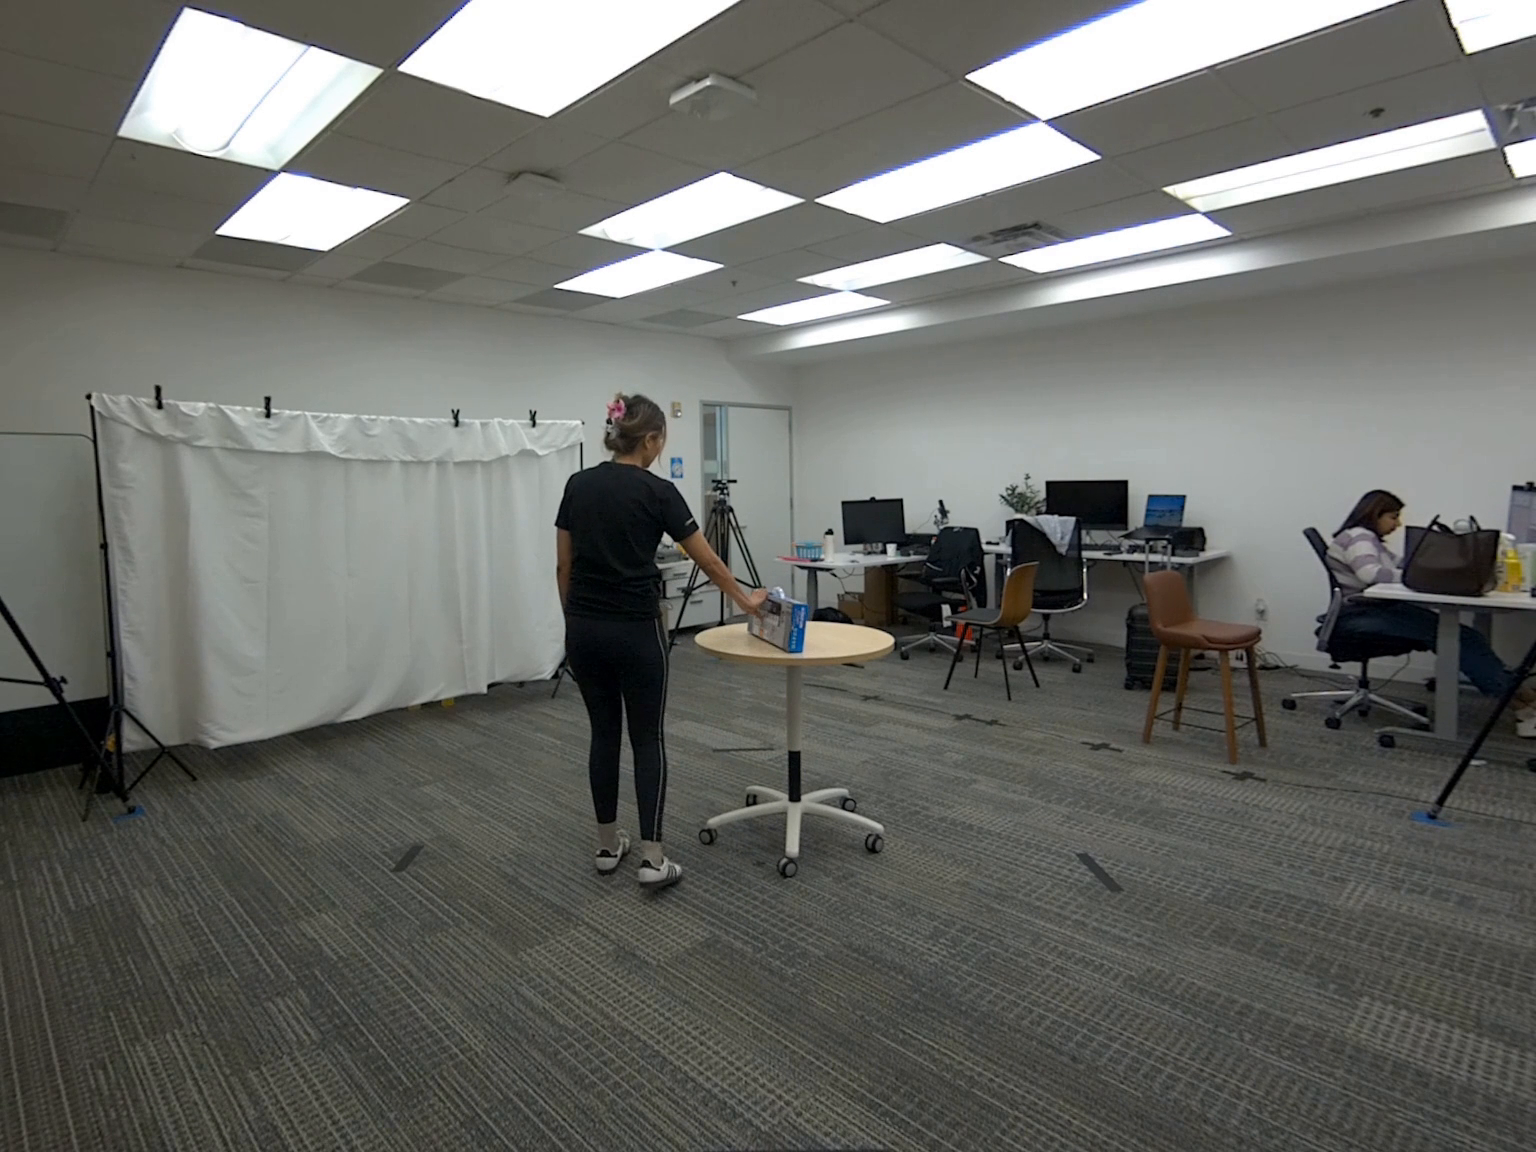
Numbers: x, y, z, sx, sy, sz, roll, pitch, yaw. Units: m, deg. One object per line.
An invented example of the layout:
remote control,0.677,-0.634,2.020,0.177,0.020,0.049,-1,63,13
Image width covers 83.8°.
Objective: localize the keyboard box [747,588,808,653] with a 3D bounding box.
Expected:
keyboard box,0.028,0.163,3.206,0.058,0.175,0.445,5,3,-18
